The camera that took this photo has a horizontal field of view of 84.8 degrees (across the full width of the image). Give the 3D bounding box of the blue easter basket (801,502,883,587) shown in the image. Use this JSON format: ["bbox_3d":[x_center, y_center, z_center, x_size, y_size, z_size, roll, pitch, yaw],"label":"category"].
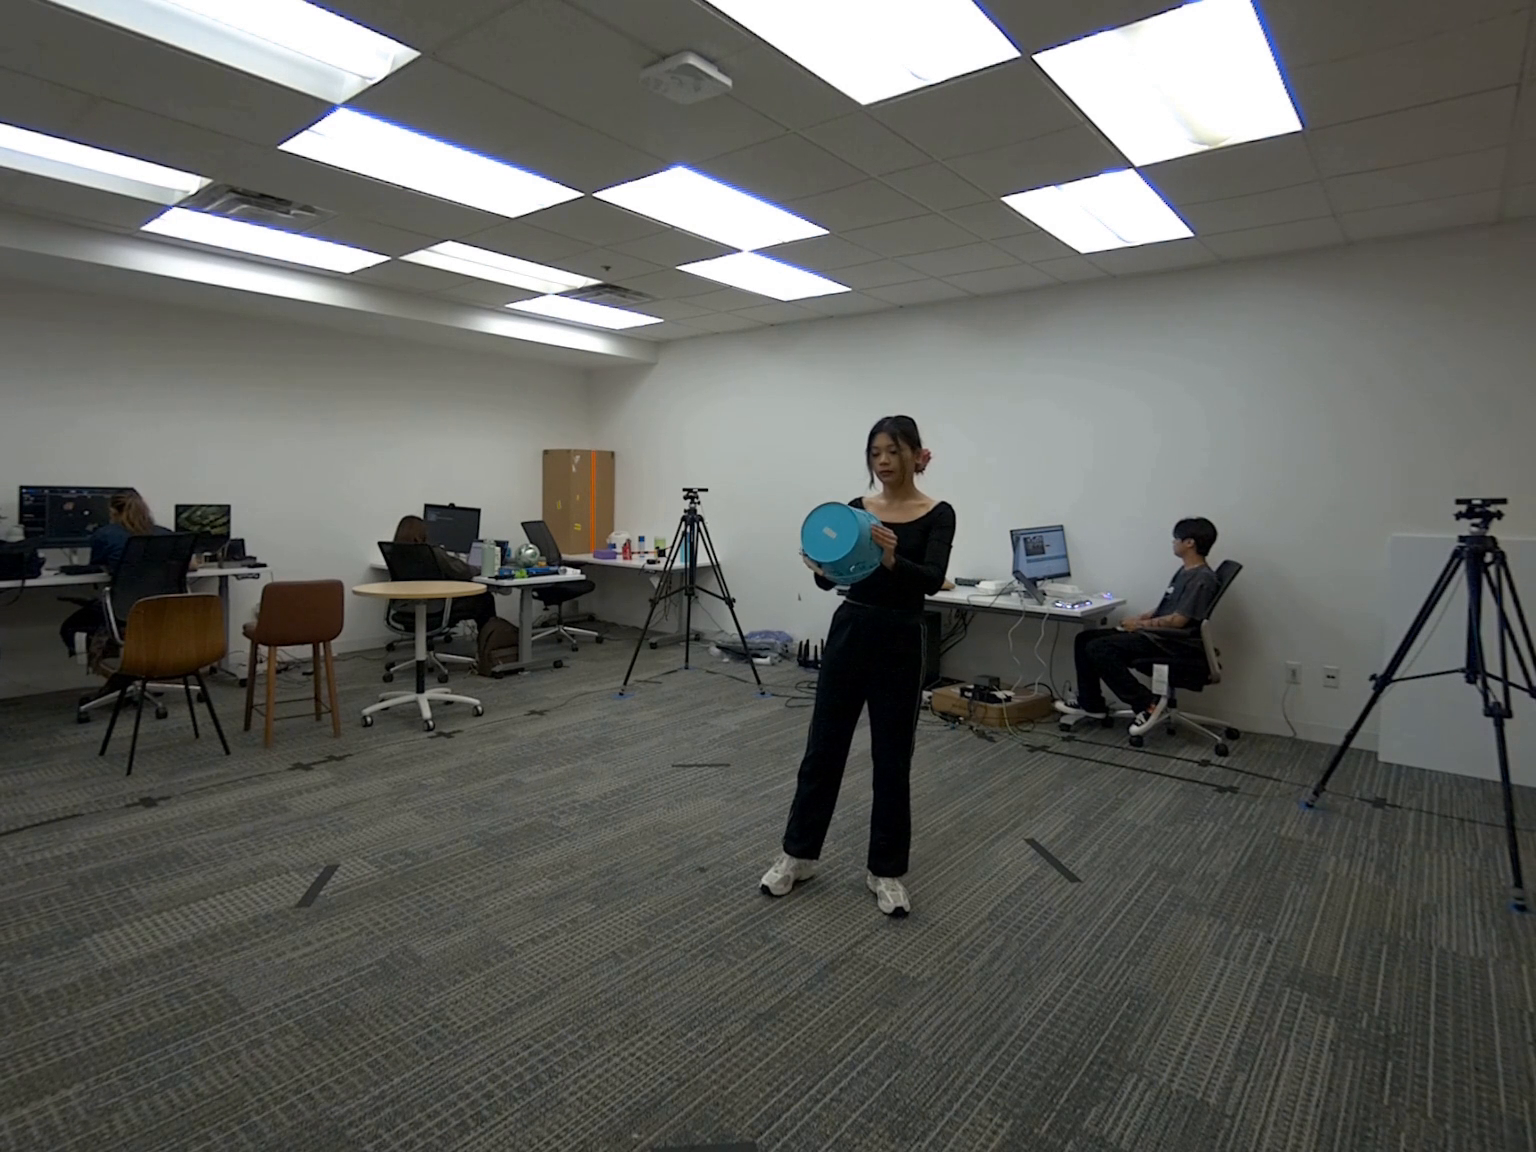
[{"bbox_3d":[0.199,-0.110,2.502,0.251,0.245,0.150,3,-11,30],"label":"blue easter basket"}]
